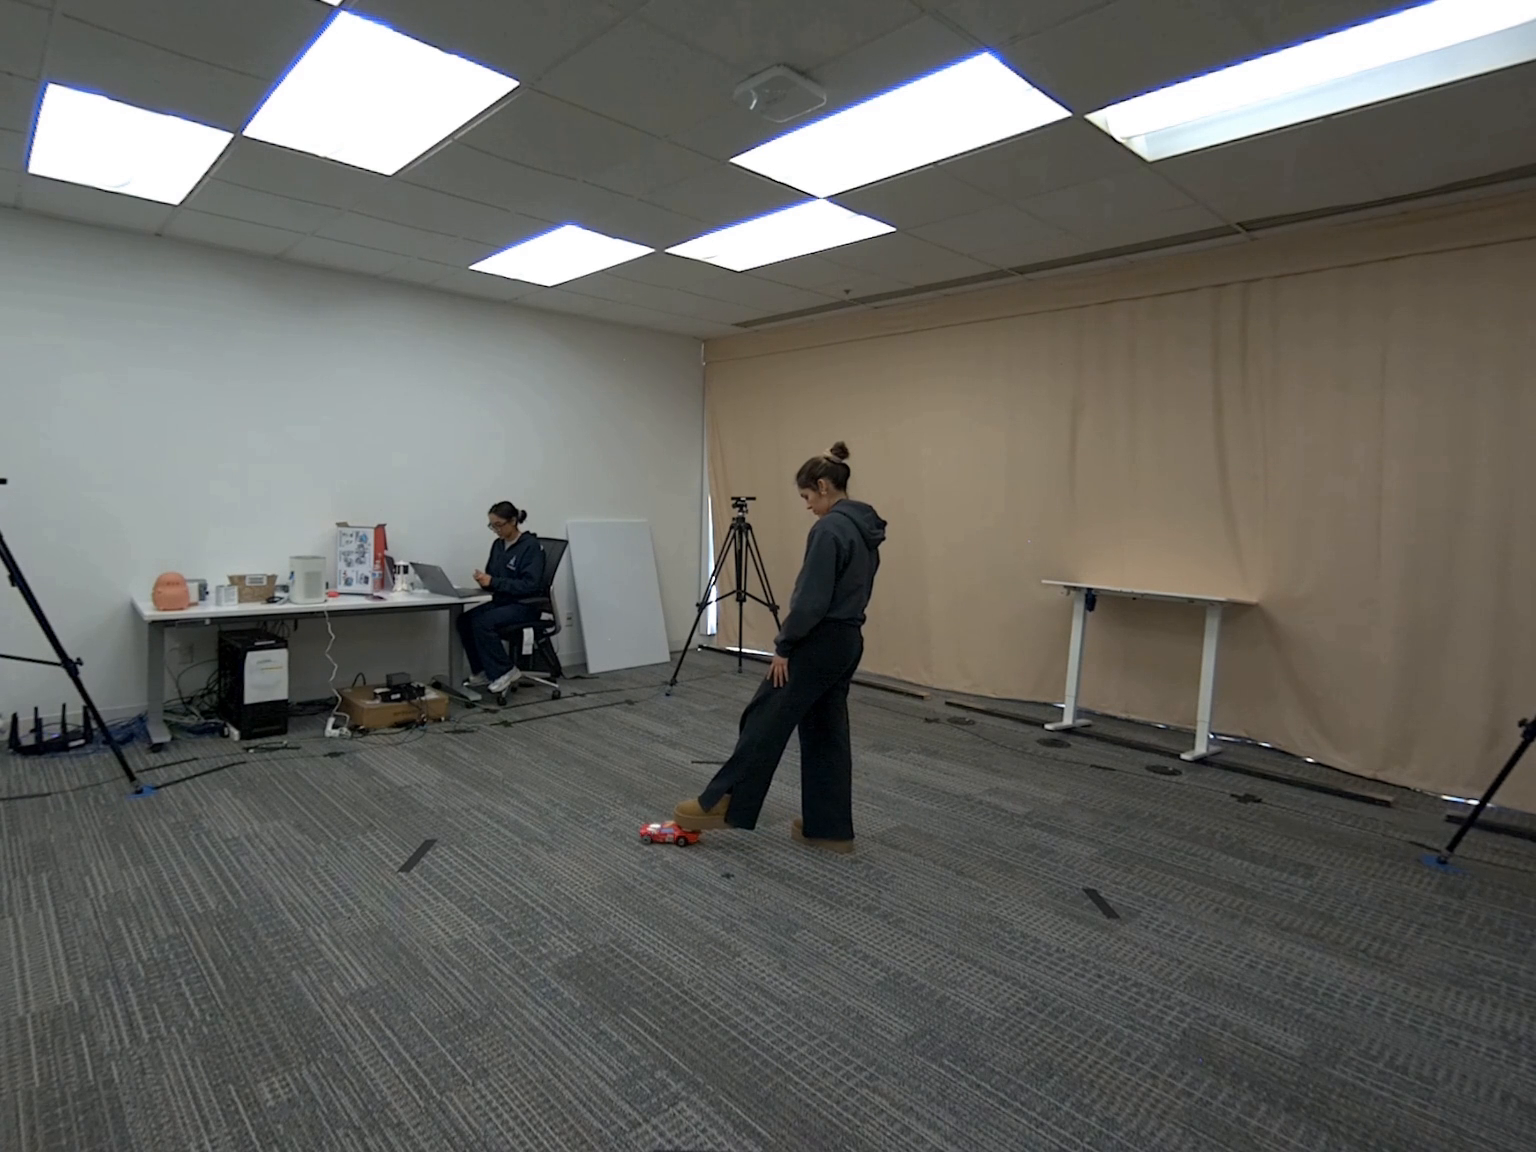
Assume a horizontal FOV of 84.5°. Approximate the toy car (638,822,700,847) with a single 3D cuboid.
[{"bbox_3d":[-0.396,1.037,3.427,0.256,0.083,0.130,-8,4,8],"label":"toy car"}]
